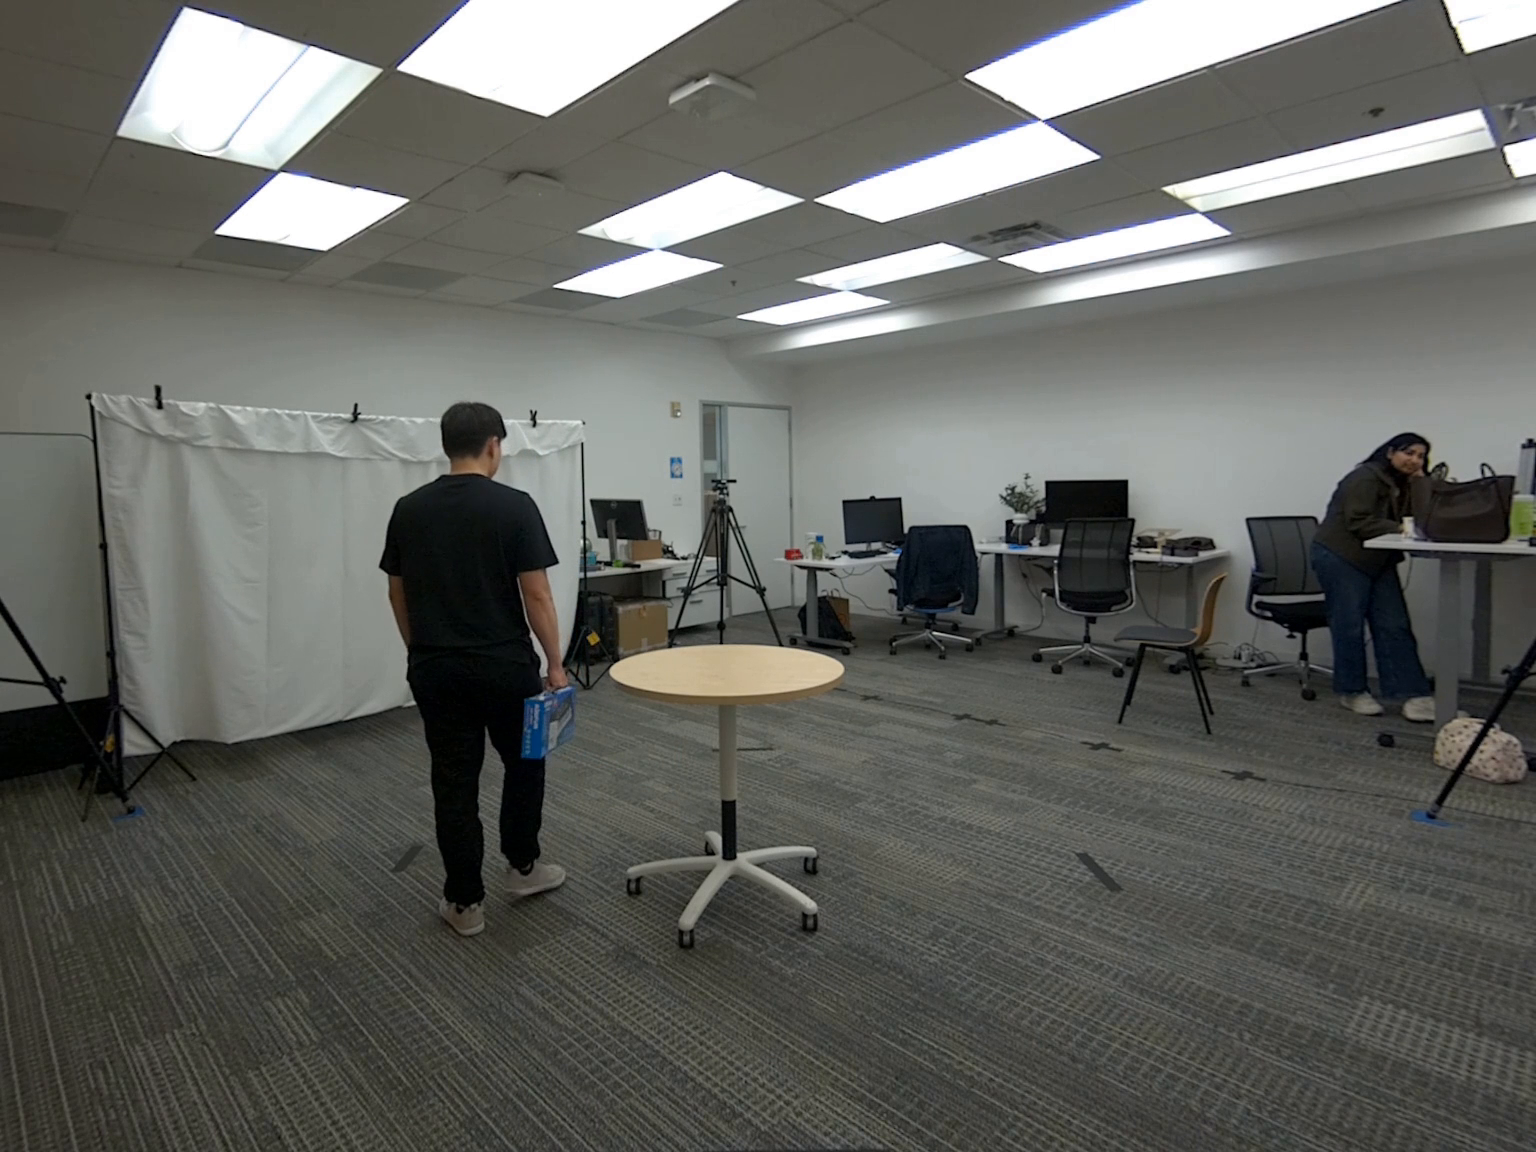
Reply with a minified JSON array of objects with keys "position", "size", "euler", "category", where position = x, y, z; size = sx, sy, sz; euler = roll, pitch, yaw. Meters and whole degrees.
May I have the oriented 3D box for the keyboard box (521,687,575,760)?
[{"position":[-0.683,0.459,2.716],"size":[0.059,0.176,0.434],"euler":[2,-2,1],"category":"keyboard box"}]
